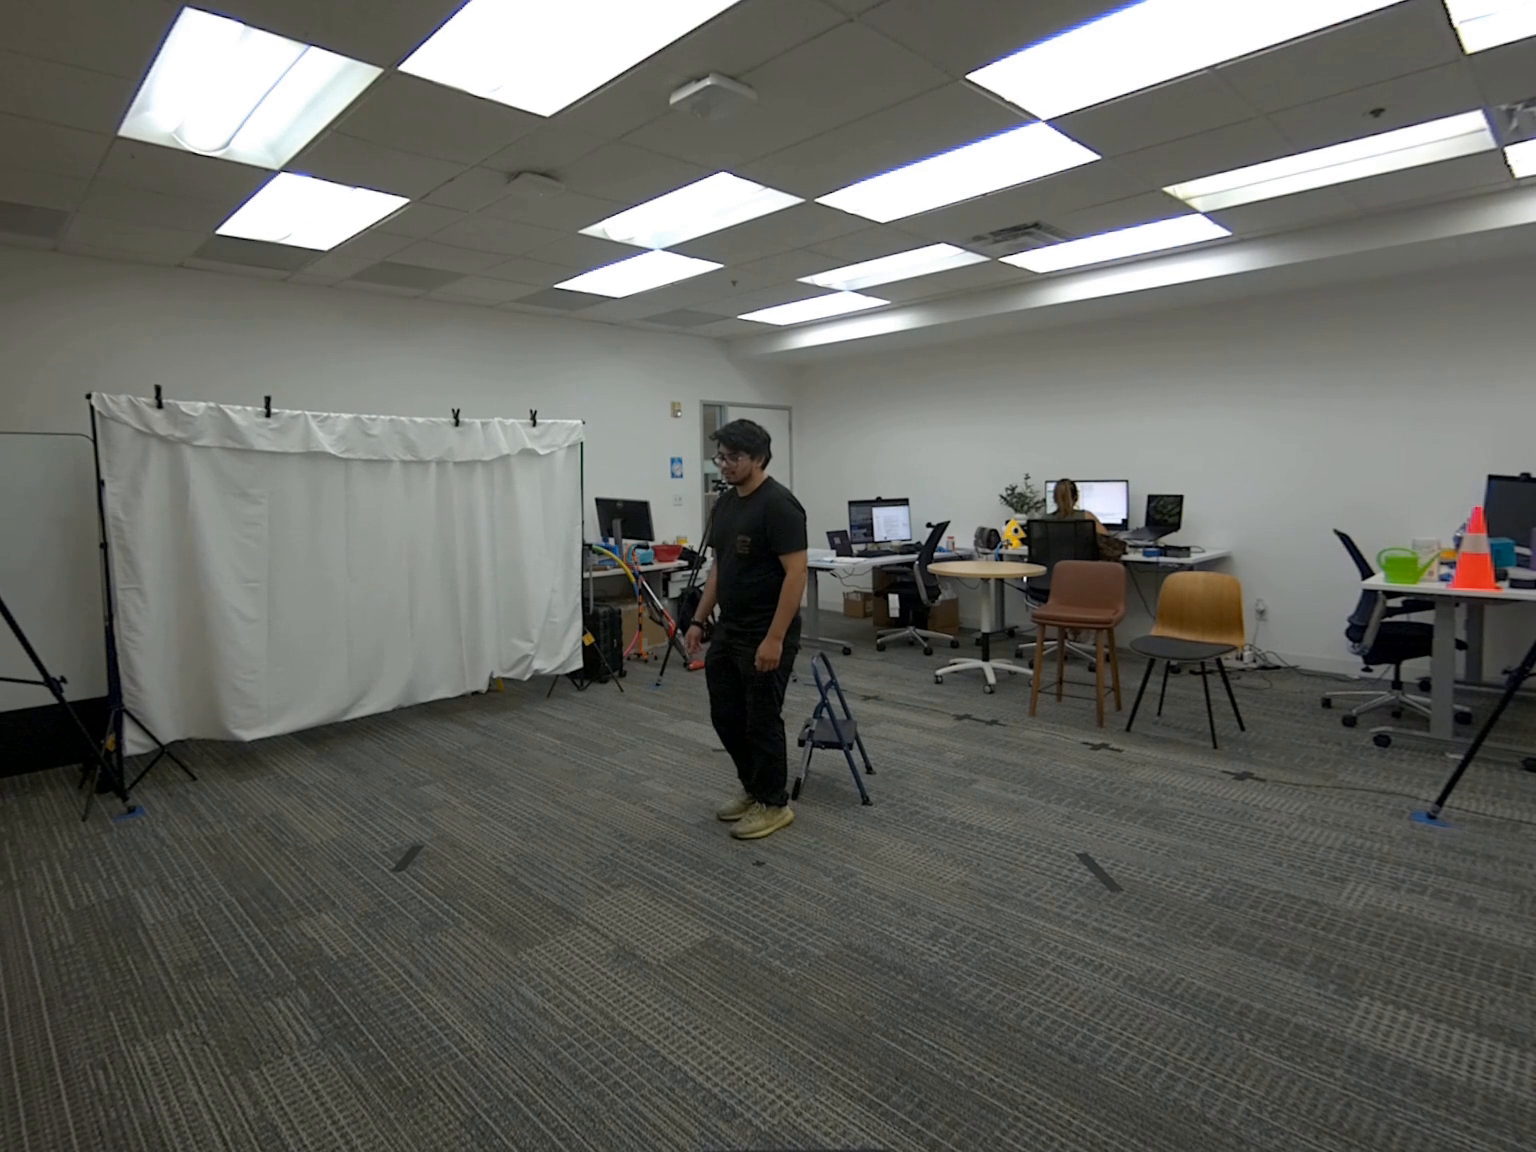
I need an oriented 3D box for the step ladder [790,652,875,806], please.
[{"bbox_3d":[0.301,0.655,3.874,0.353,0.604,0.427,0,4,10],"label":"step ladder"}]
